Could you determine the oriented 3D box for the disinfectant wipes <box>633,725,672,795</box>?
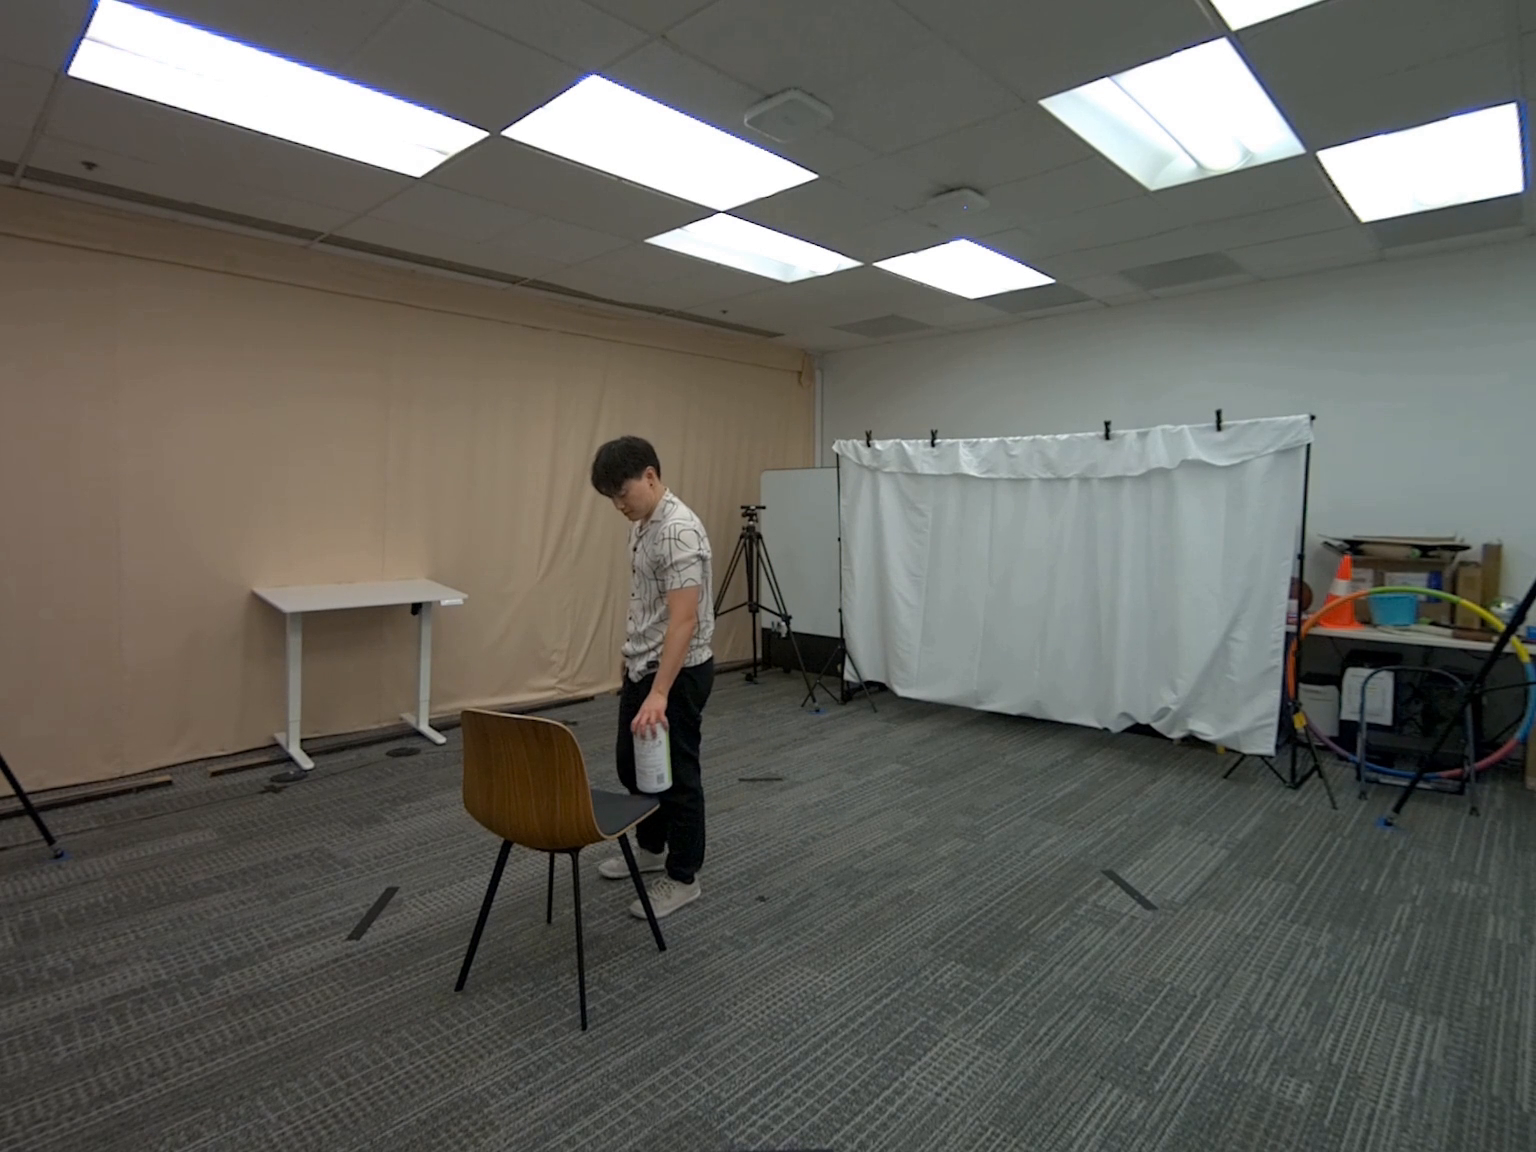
[{"bbox_3d":[-0.353,0.546,2.605,0.118,0.216,0.118,-1,7,-2],"label":"disinfectant wipes"}]
